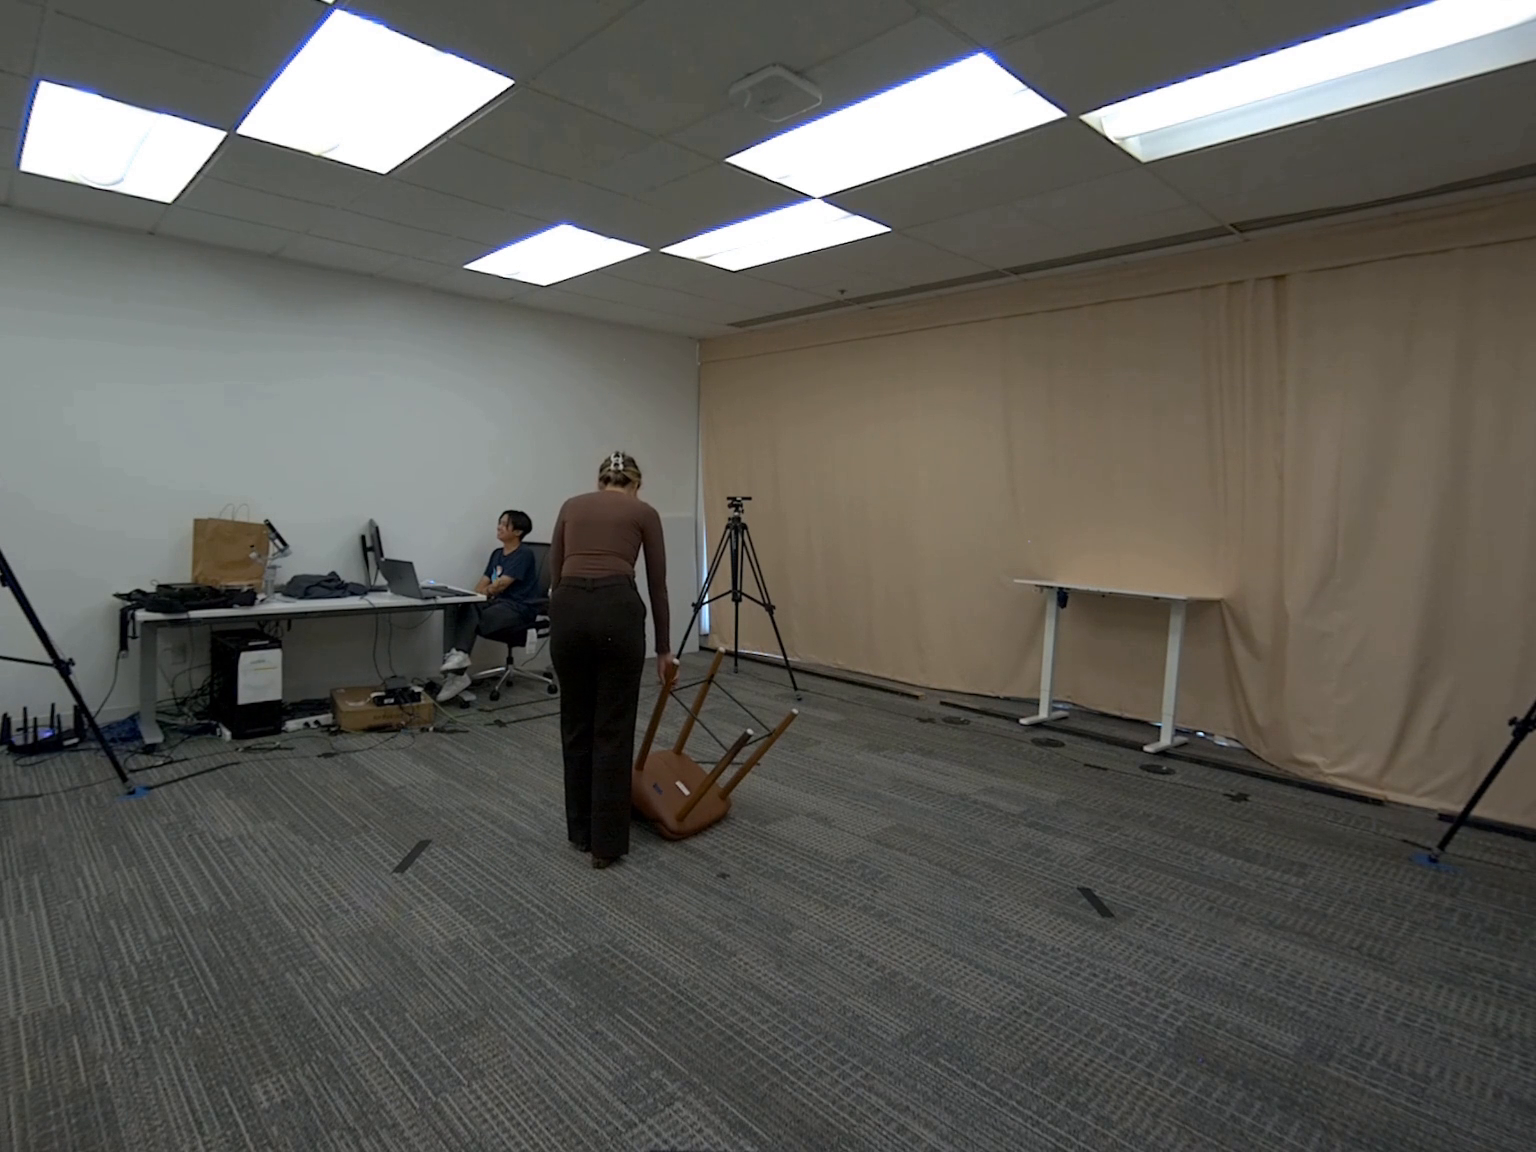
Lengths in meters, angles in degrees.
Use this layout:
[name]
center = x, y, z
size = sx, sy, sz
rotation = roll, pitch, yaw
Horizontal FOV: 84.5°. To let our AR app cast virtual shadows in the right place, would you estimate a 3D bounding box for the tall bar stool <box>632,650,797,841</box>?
[tall bar stool]
center = -0.353, 0.811, 3.591
size = 0.479, 0.886, 0.447
rotation = 41, 21, 22
